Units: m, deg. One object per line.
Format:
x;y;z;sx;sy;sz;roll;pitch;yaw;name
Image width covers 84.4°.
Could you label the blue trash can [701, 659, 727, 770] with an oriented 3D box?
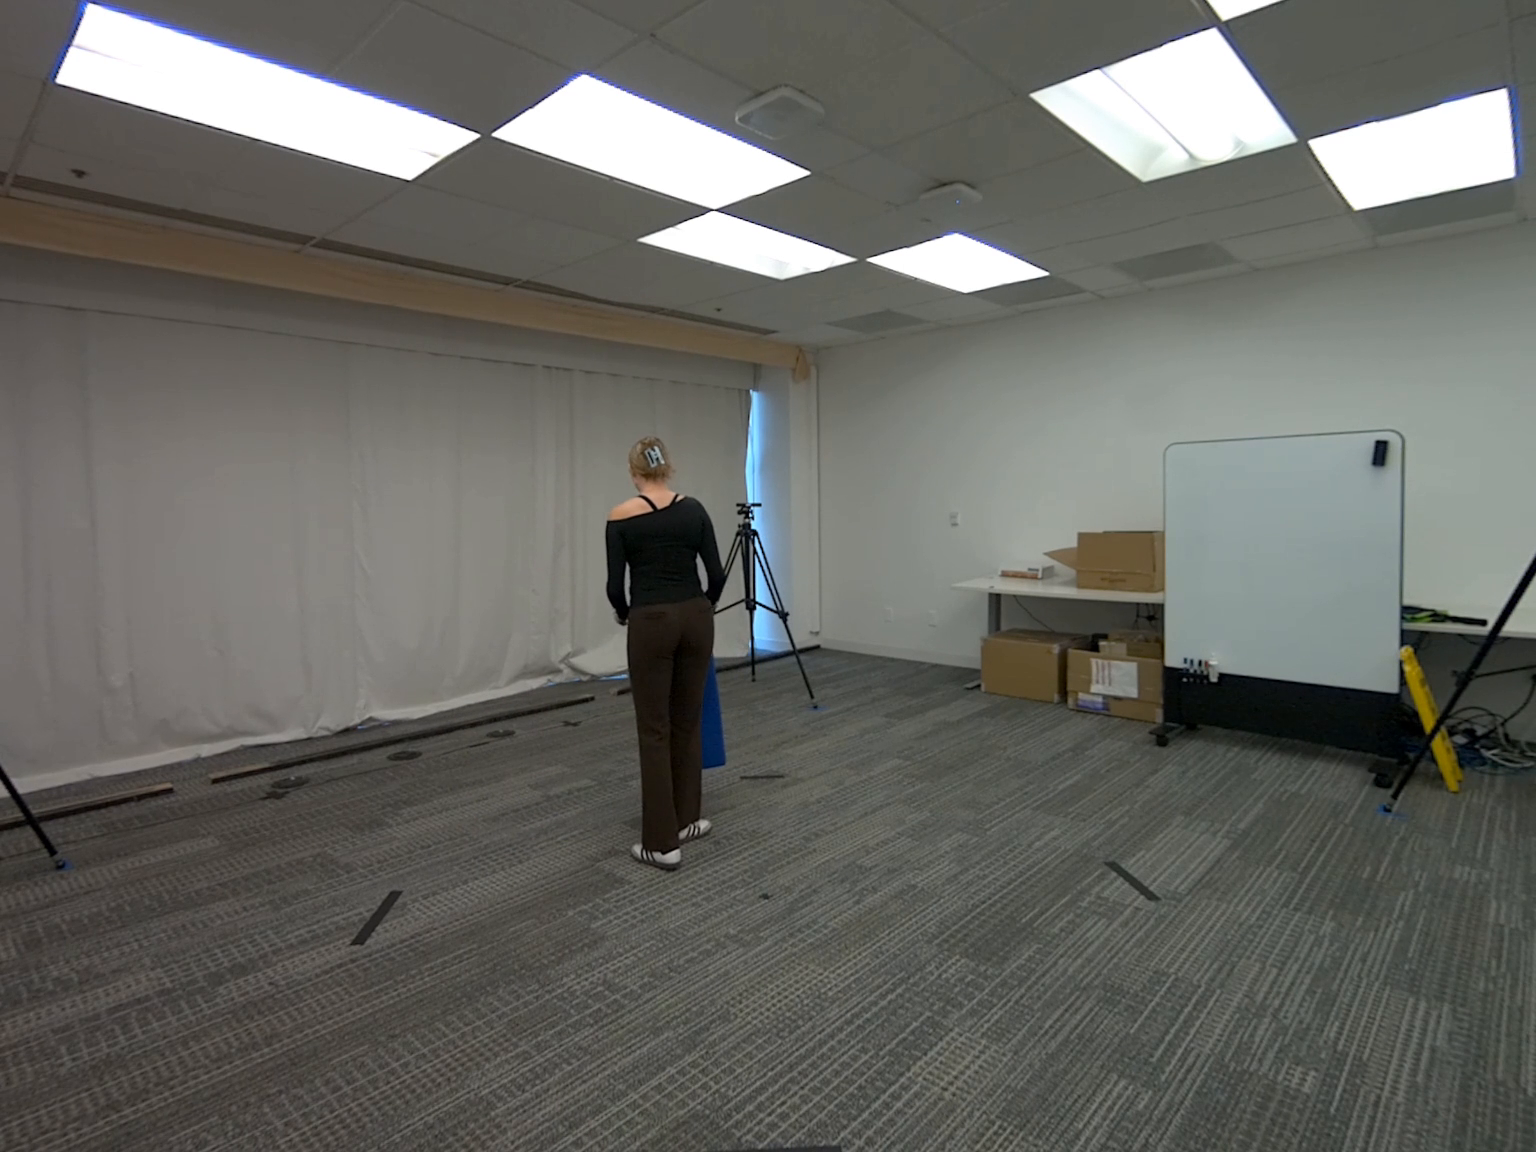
-0.409;0.481;3.739;0.371;0.713;0.382;-7;1;-9;blue trash can
